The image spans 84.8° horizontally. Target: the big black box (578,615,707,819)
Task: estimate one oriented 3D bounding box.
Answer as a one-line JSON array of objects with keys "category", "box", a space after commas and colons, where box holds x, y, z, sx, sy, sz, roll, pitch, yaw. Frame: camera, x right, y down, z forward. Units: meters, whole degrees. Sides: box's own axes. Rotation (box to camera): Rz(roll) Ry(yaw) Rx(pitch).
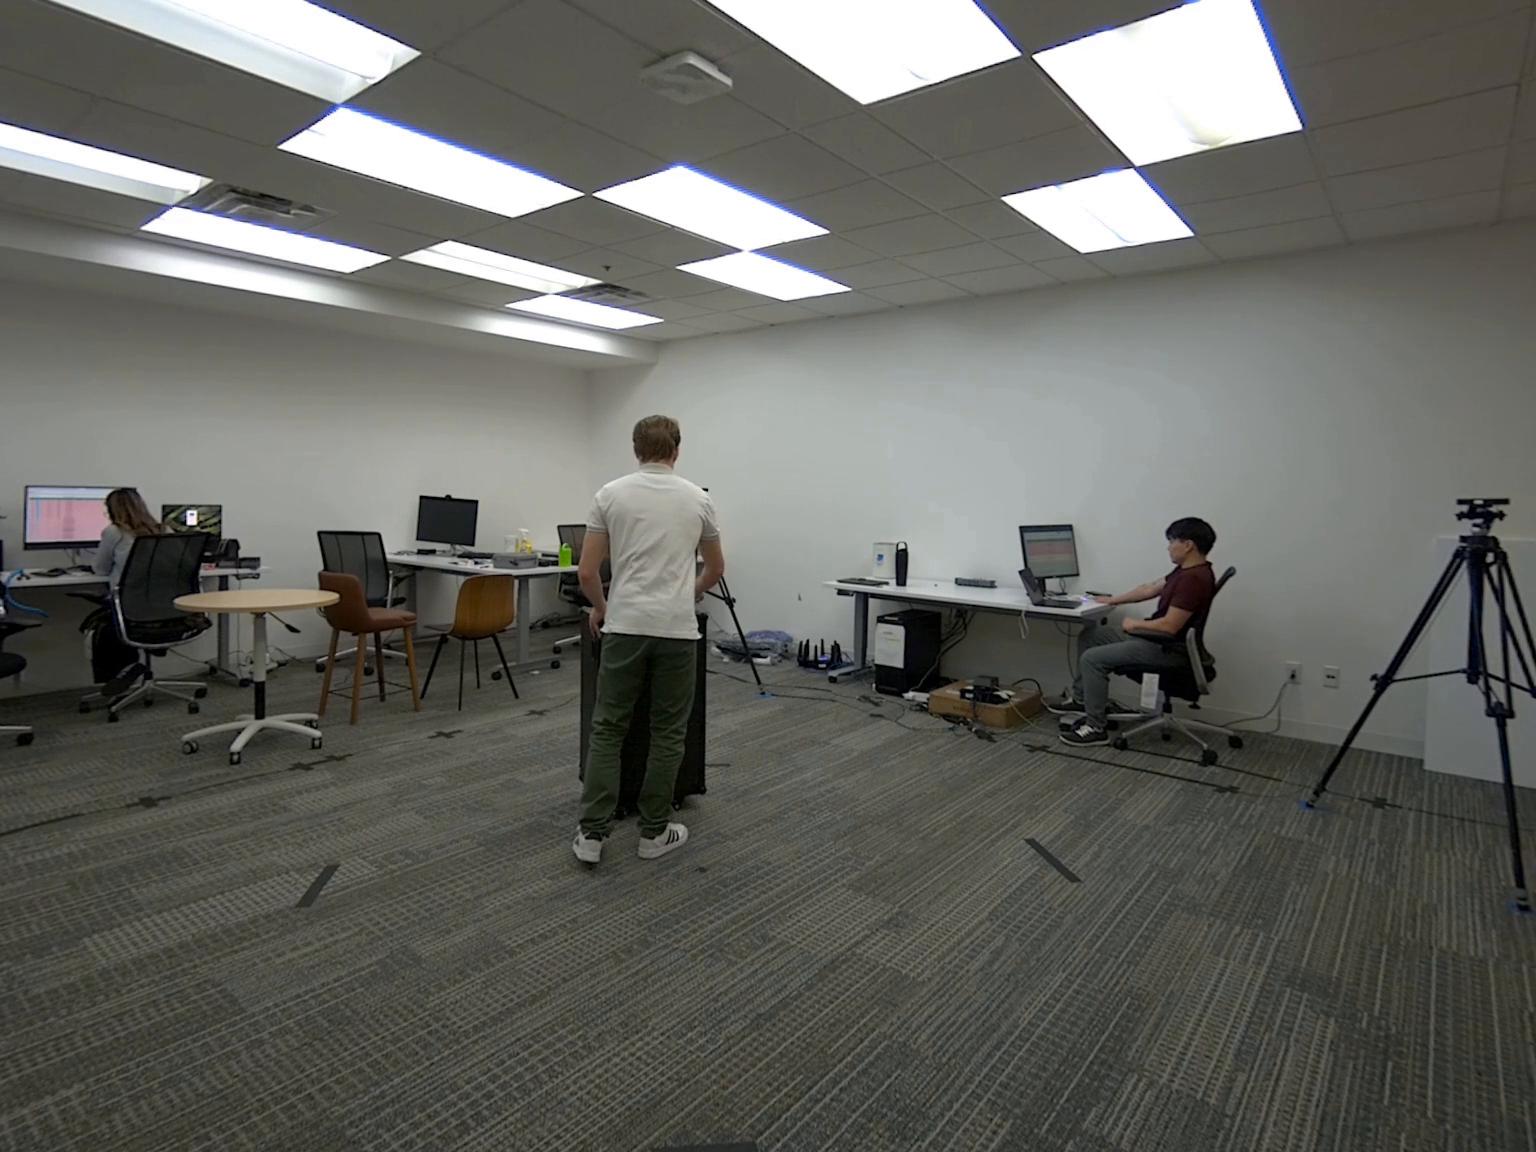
[{"category": "big black box", "box": [-0.578, 0.572, 3.753, 0.512, 0.867, 0.395, -1, 3, -23]}]
